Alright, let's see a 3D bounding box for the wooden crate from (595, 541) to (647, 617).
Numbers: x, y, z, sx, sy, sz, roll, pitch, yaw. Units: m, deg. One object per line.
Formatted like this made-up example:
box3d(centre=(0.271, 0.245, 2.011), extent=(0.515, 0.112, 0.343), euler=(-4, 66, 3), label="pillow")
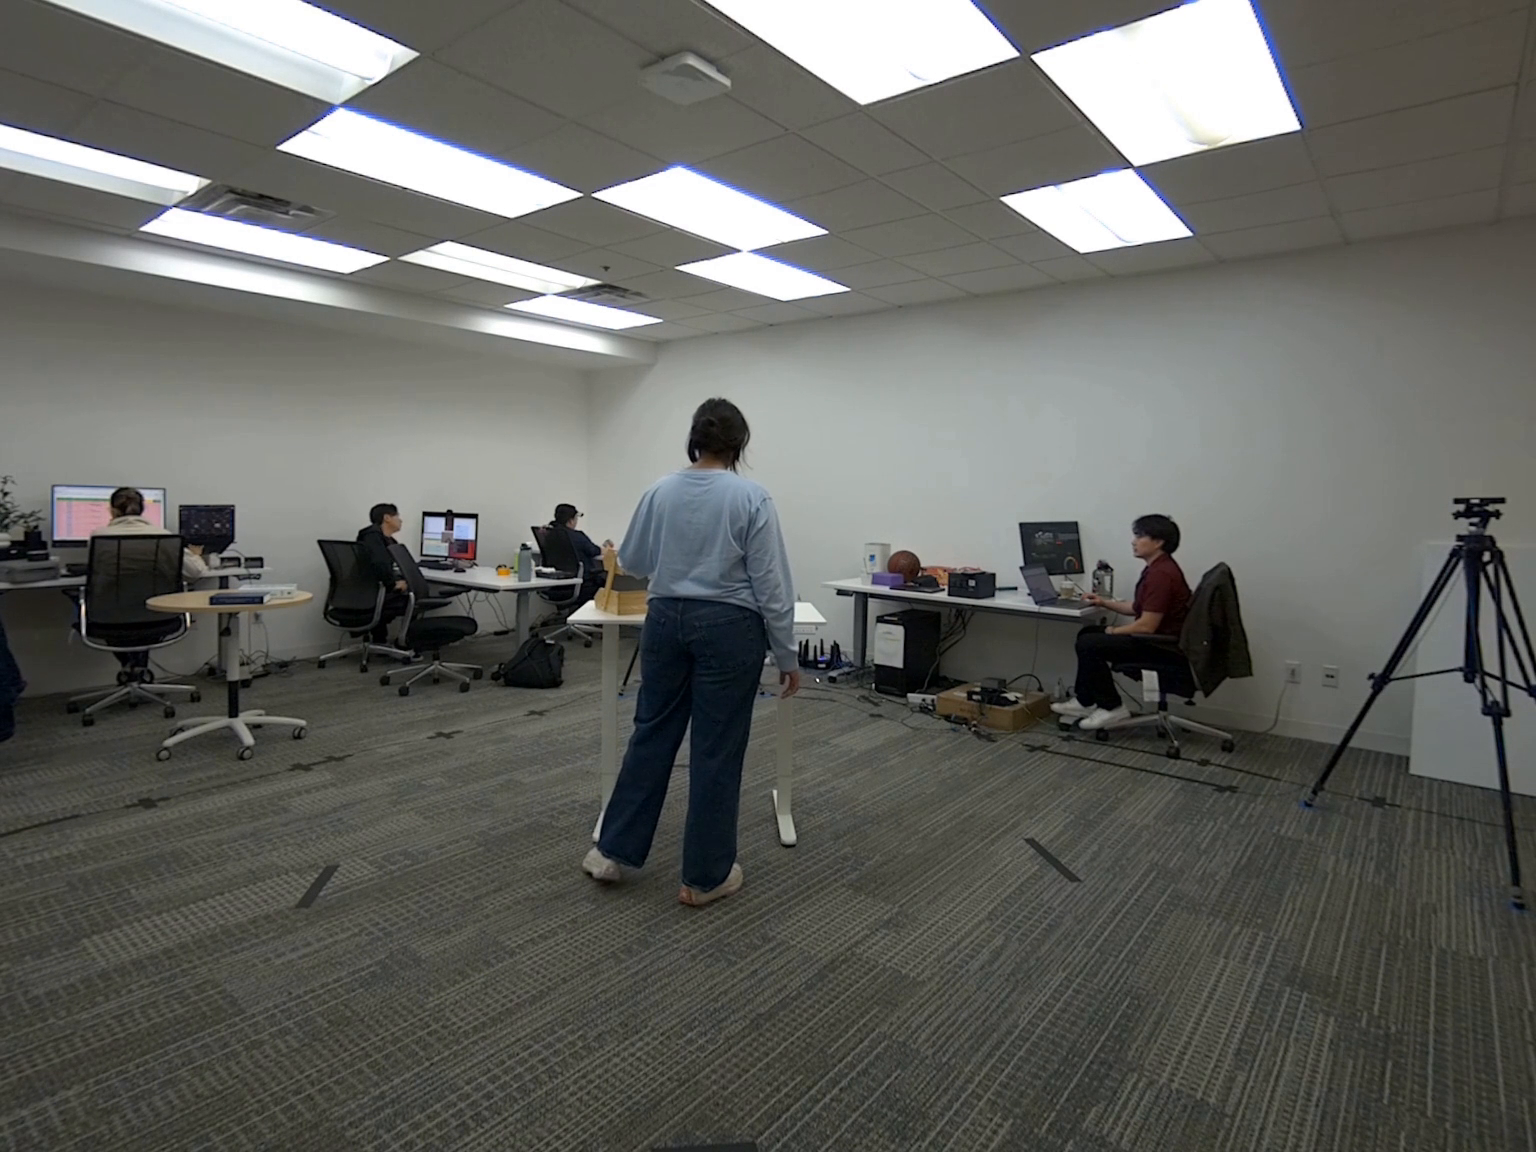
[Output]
box3d(centre=(-0.543, 0.010, 3.550), extent=(0.316, 0.272, 0.311), euler=(-2, 5, -32), label="wooden crate")
